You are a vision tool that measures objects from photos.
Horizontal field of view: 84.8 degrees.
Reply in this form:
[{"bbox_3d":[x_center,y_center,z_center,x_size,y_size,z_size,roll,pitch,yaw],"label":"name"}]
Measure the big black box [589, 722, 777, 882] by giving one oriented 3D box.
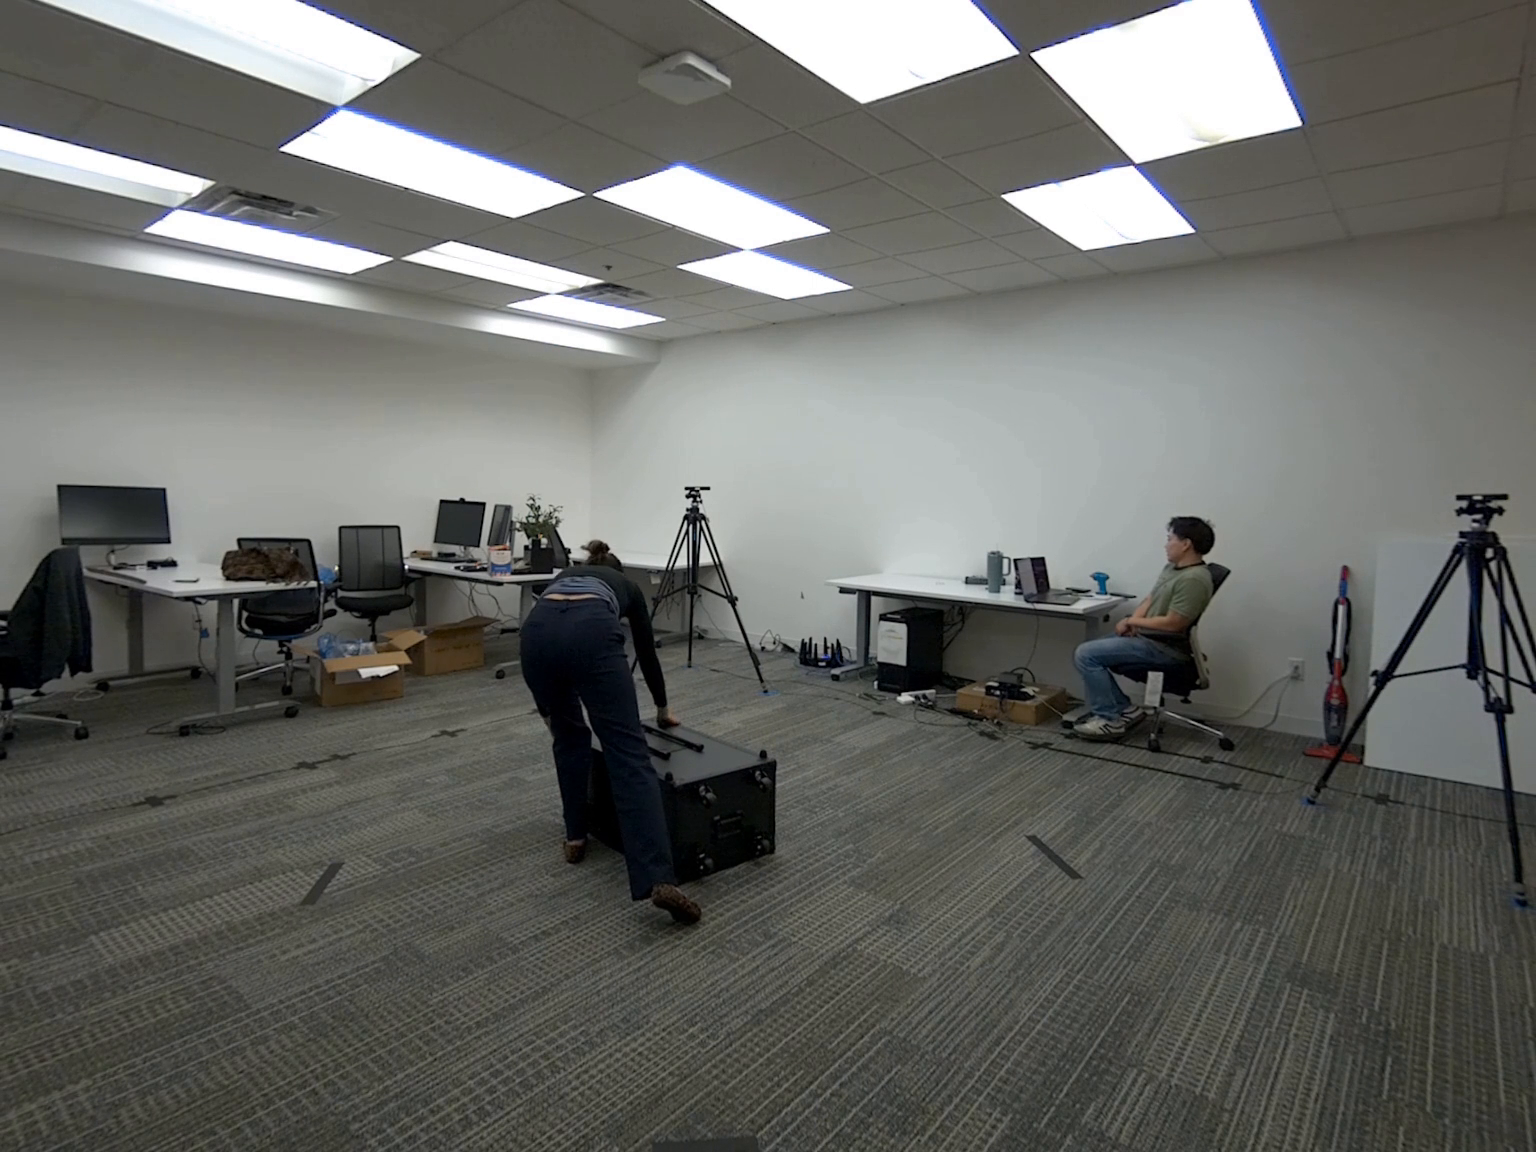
[{"bbox_3d":[-0.437,0.862,3.414,0.506,0.395,0.891,-4,7,-41],"label":"big black box"}]
